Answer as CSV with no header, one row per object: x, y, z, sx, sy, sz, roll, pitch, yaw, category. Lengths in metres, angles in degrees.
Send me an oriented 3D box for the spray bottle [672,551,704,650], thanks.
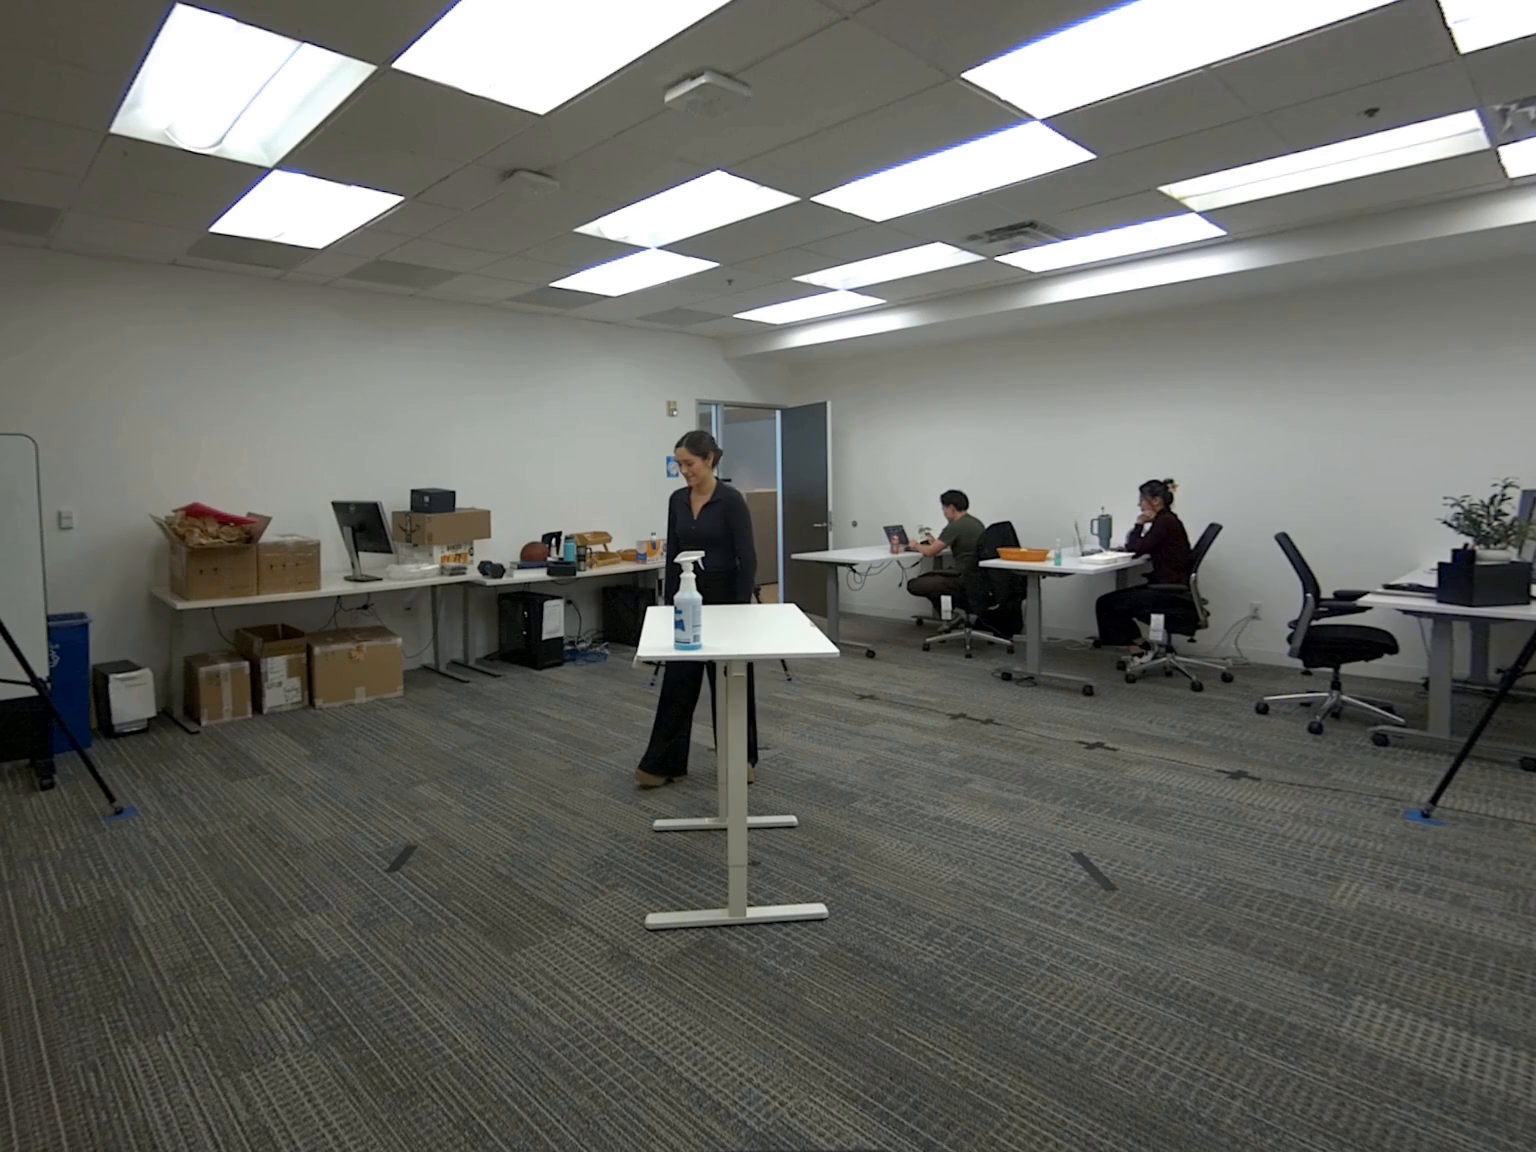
-0.245,0.076,2.608,0.092,0.296,0.086,1,4,19,spray bottle
